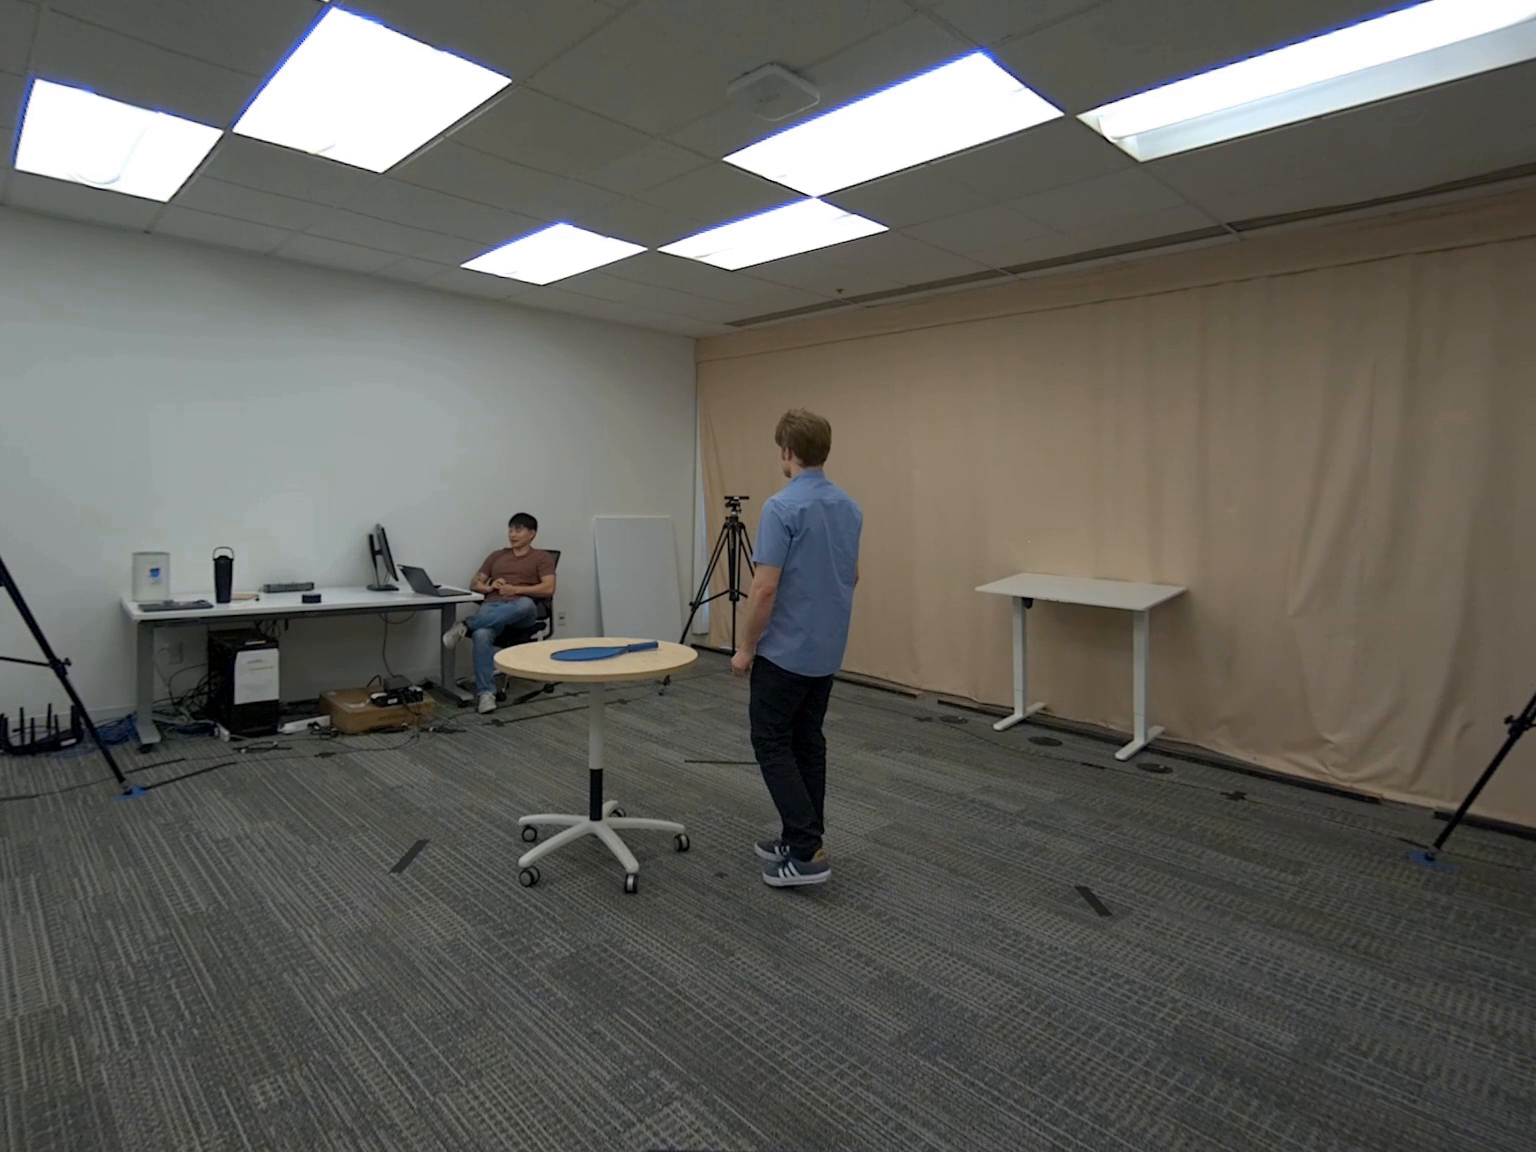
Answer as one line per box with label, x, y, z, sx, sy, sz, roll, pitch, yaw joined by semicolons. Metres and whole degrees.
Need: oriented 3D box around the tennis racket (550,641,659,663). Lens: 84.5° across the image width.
tennis racket;-0.626;0.289;3.212;0.424;0.031;0.219;-5;6;-34
